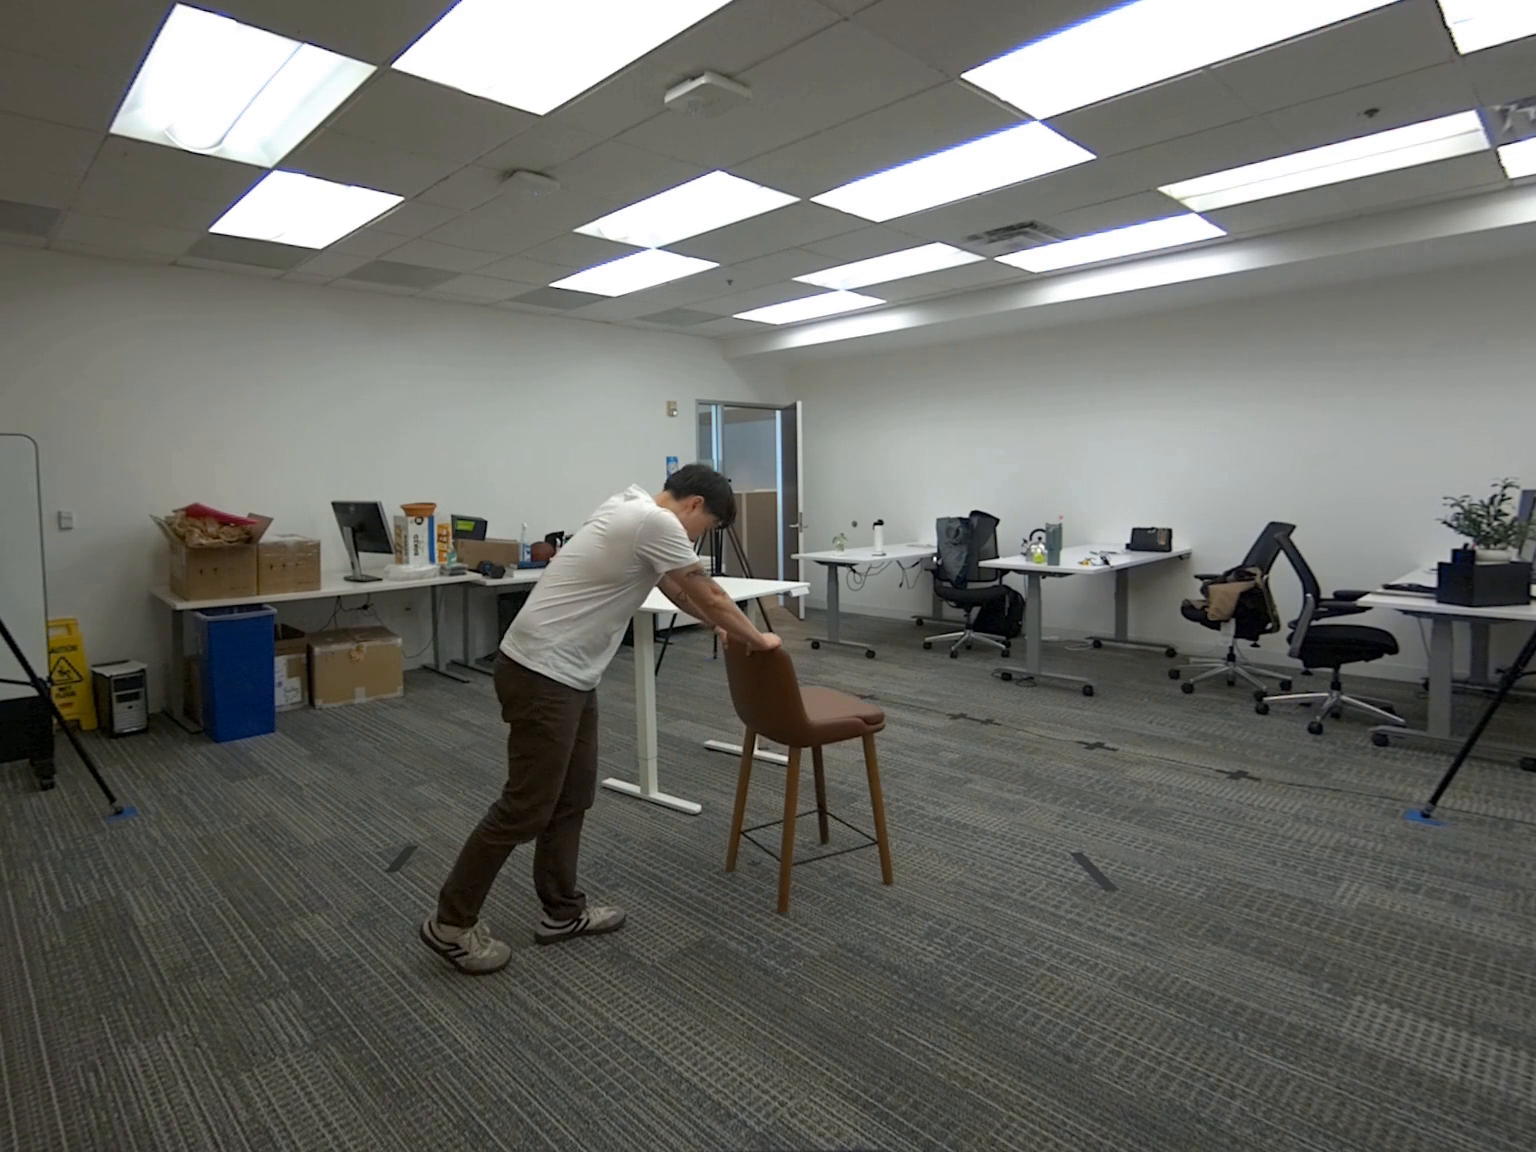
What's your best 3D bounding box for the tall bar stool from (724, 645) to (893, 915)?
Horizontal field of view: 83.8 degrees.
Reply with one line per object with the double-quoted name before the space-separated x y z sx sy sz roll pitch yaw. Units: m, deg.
"tall bar stool" 0.121 0.621 2.973 0.457 0.886 0.469 -5 6 -30
